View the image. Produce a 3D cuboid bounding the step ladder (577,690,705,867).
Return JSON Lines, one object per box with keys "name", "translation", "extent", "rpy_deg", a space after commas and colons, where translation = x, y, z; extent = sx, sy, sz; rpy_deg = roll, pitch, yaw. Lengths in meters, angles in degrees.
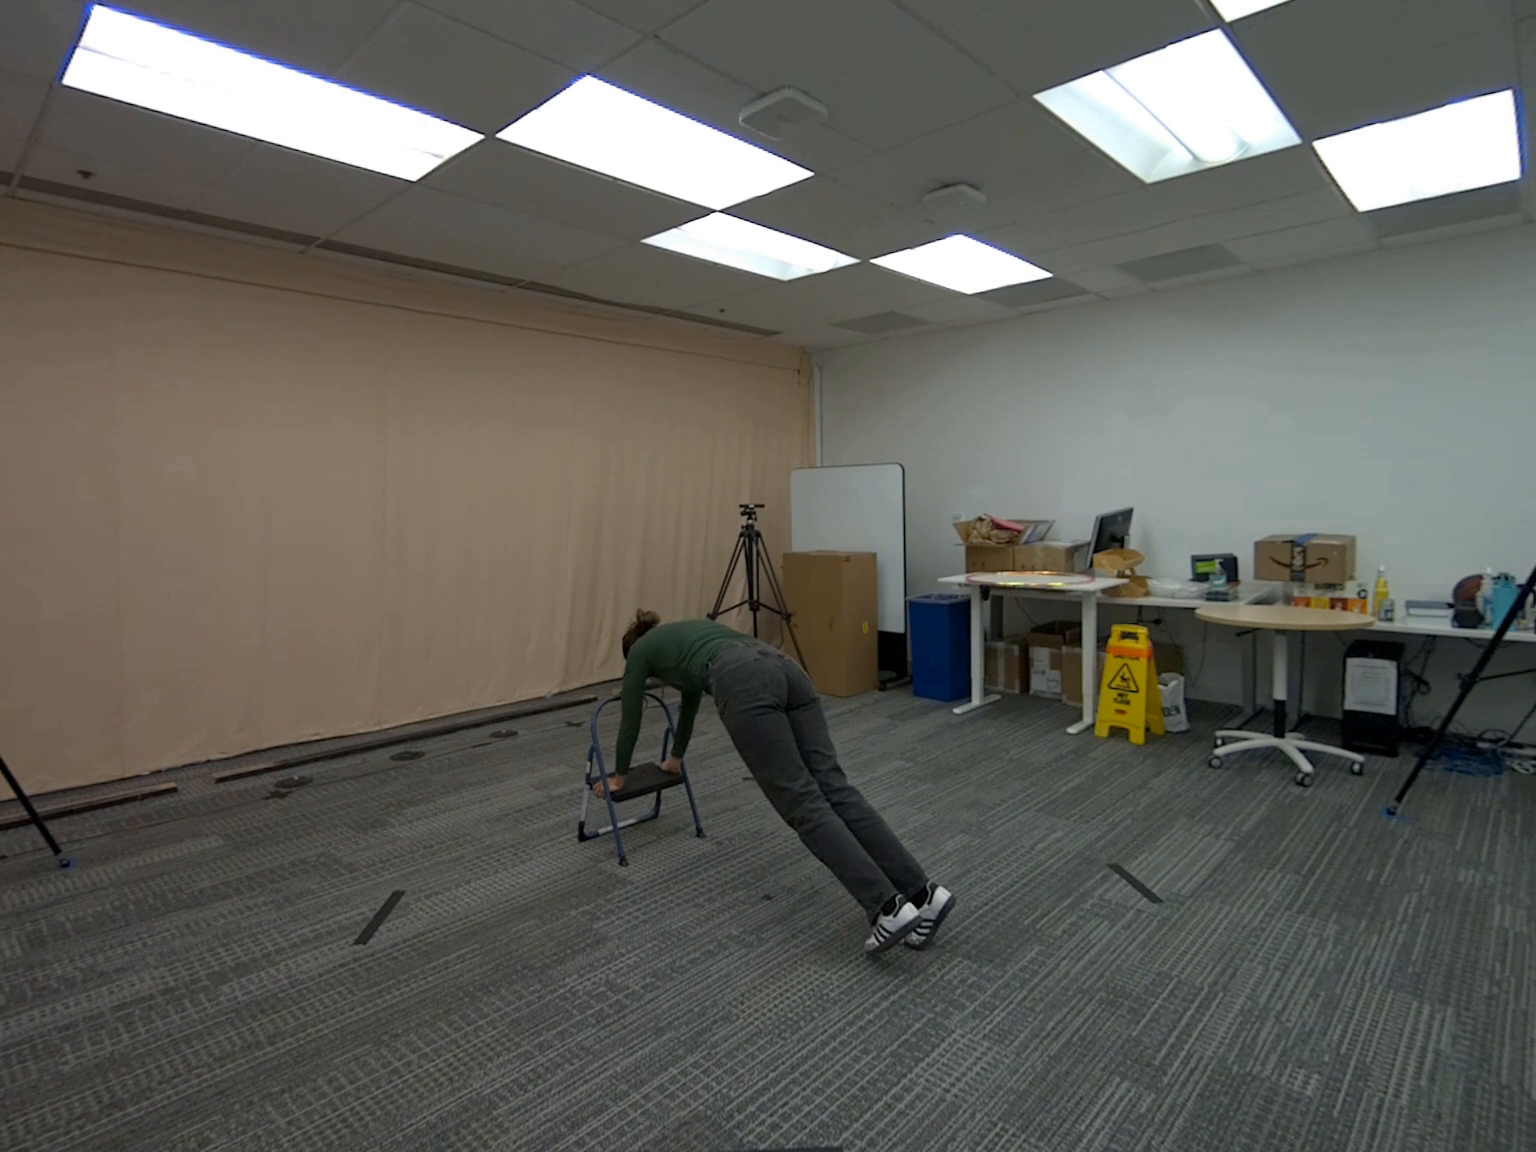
{"name": "step ladder", "translation": [-0.539, 0.805, 3.524], "extent": [0.417, 0.605, 0.361], "rpy_deg": [-4, 4, -43]}
